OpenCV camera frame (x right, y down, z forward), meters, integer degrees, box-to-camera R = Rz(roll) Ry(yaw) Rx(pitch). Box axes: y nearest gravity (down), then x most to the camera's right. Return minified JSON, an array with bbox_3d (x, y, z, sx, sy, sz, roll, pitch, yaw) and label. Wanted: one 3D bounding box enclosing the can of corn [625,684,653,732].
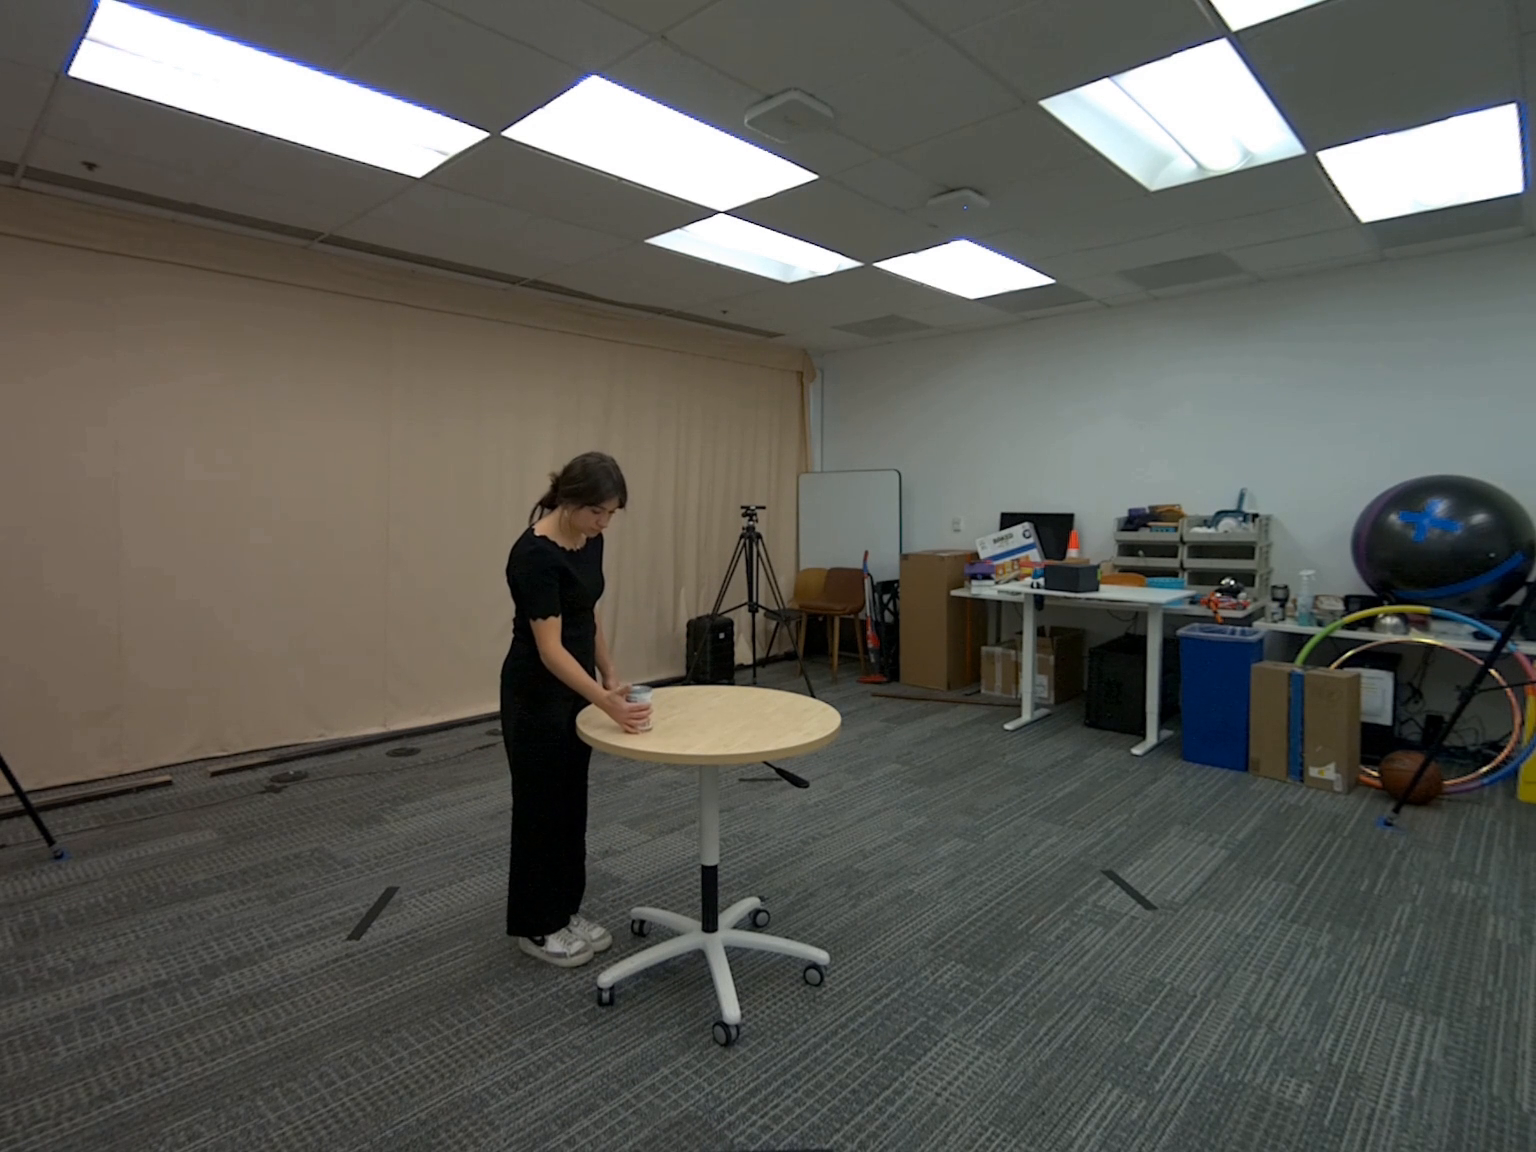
[{"bbox_3d":[-0.351,0.368,2.281,0.074,0.110,0.074,-2,6,-2],"label":"can of corn"}]
